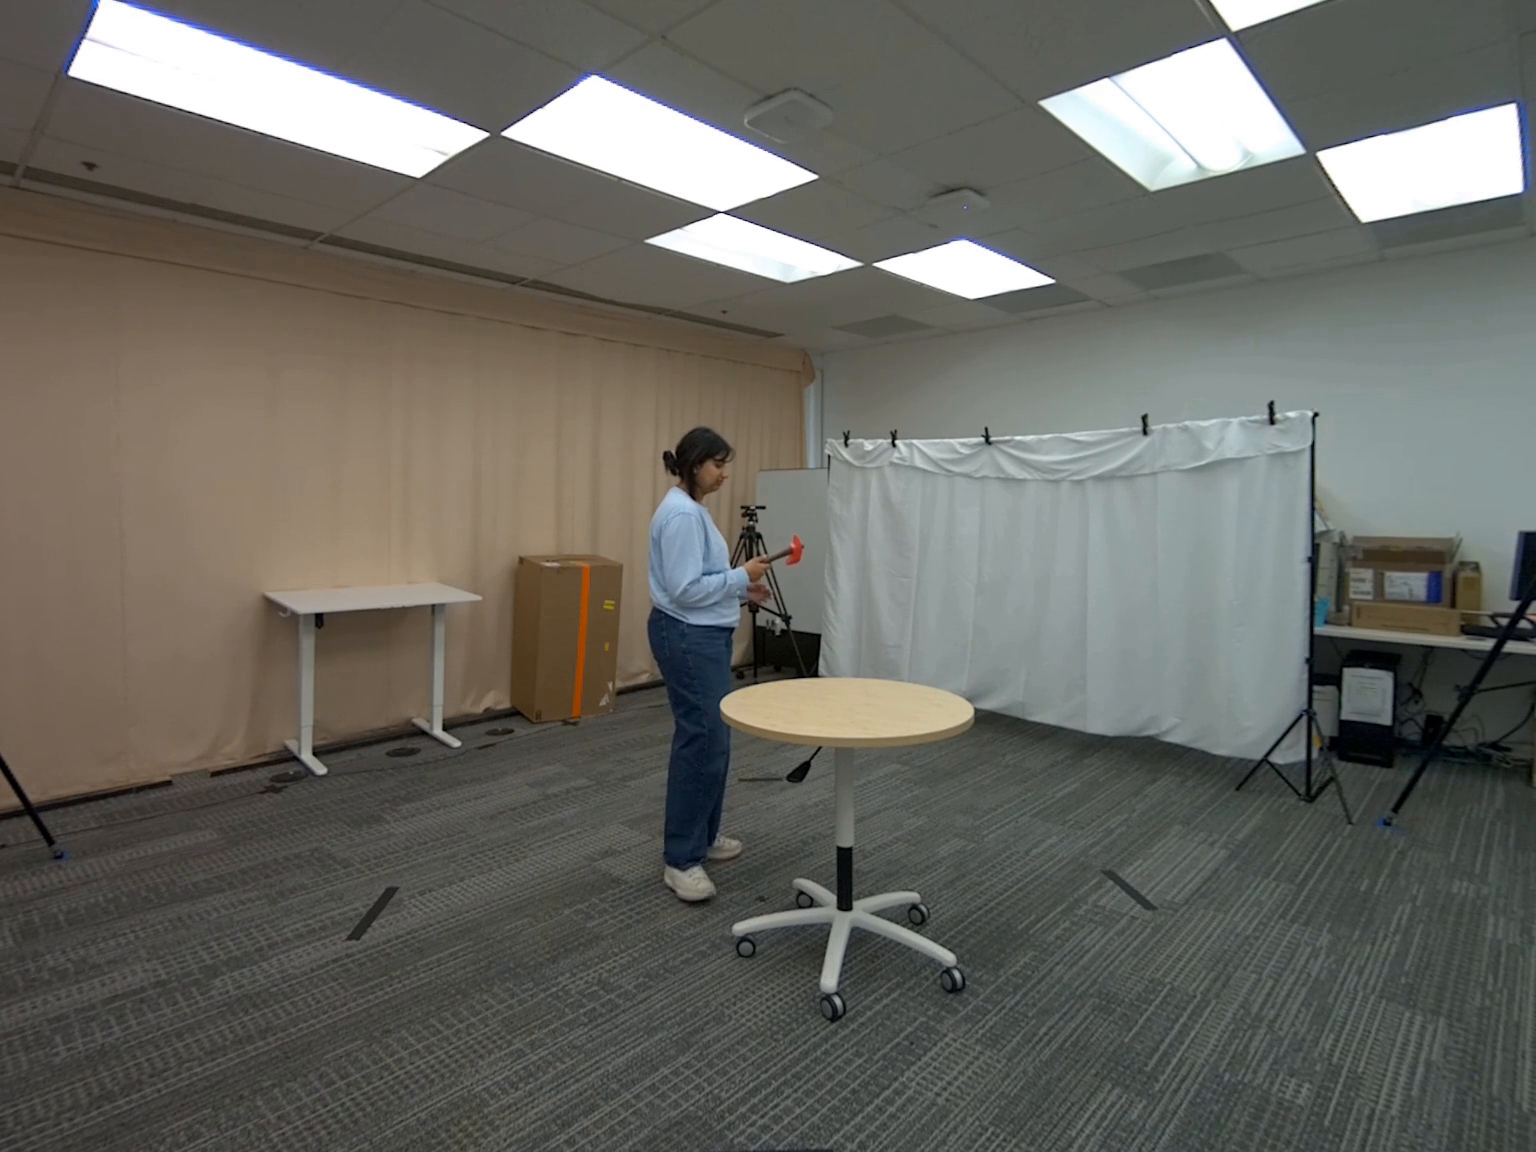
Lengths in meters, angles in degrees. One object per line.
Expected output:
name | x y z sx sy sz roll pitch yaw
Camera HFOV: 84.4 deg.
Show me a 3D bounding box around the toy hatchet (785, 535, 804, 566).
toy hatchet | 0.030 -0.044 3.224 0.270 0.127 0.030 -36 45 -3
